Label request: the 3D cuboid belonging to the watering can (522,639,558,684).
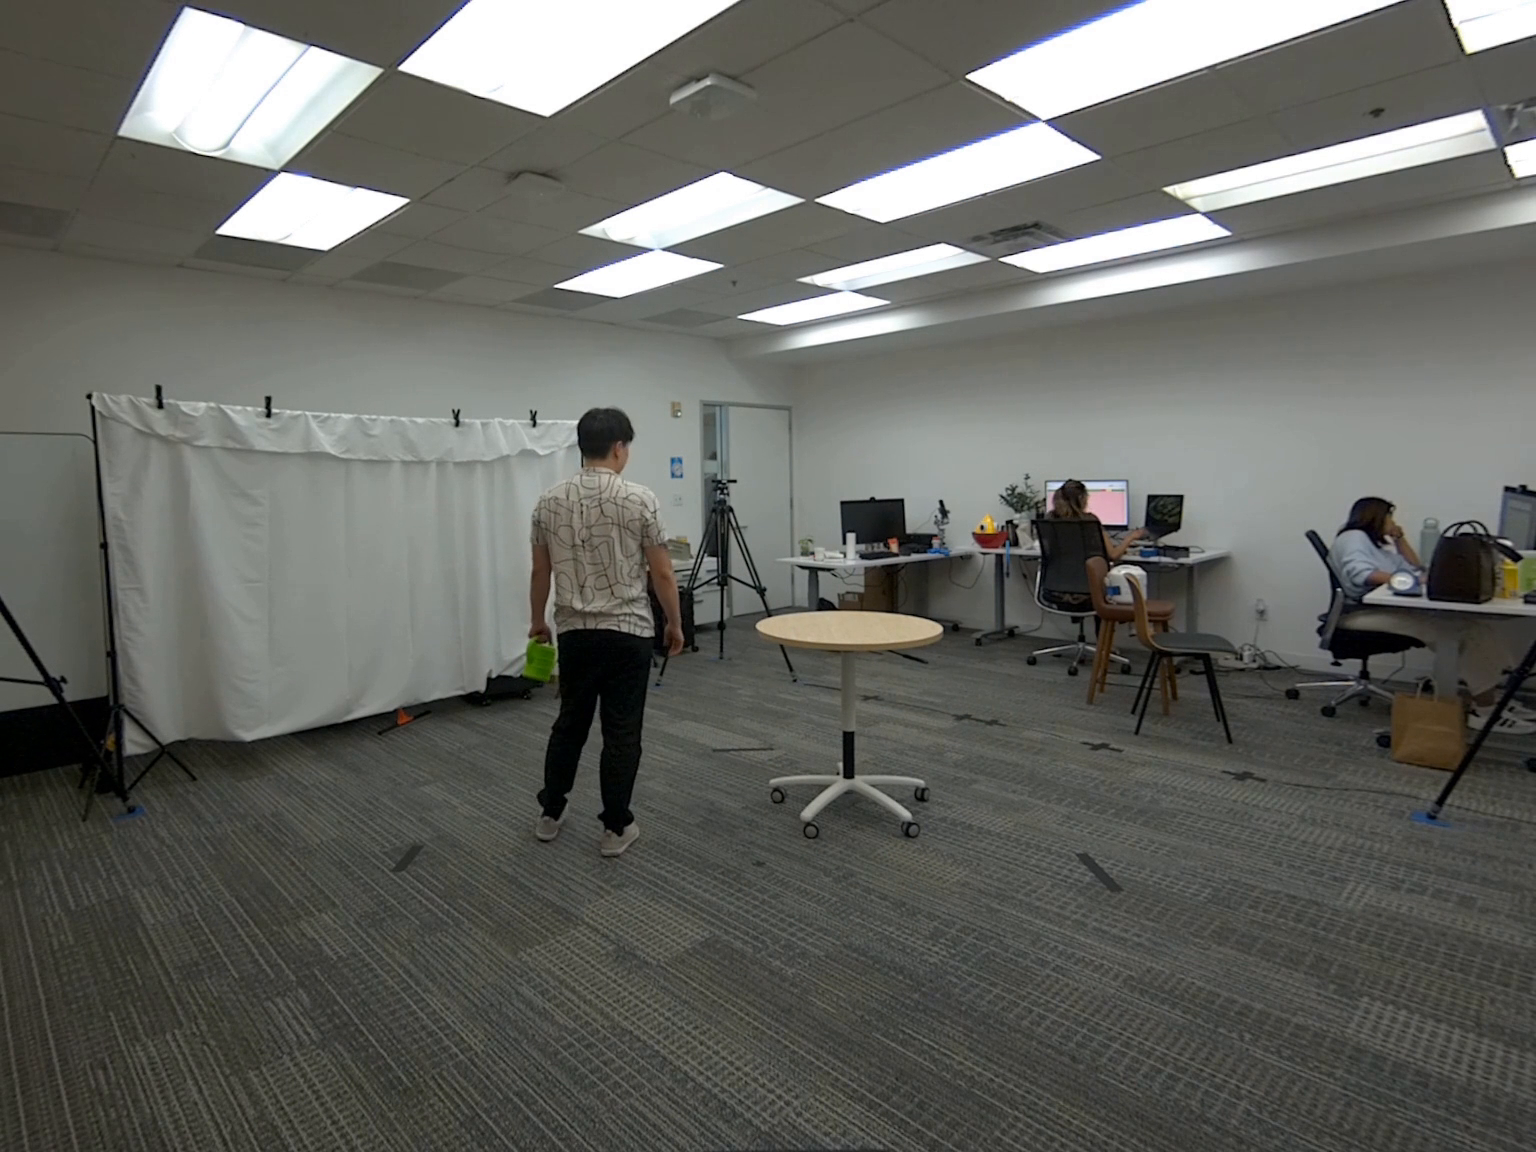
[{"bbox_3d":[-0.875,0.333,3.472,0.101,0.178,0.268,8,-9,40],"label":"watering can"}]
